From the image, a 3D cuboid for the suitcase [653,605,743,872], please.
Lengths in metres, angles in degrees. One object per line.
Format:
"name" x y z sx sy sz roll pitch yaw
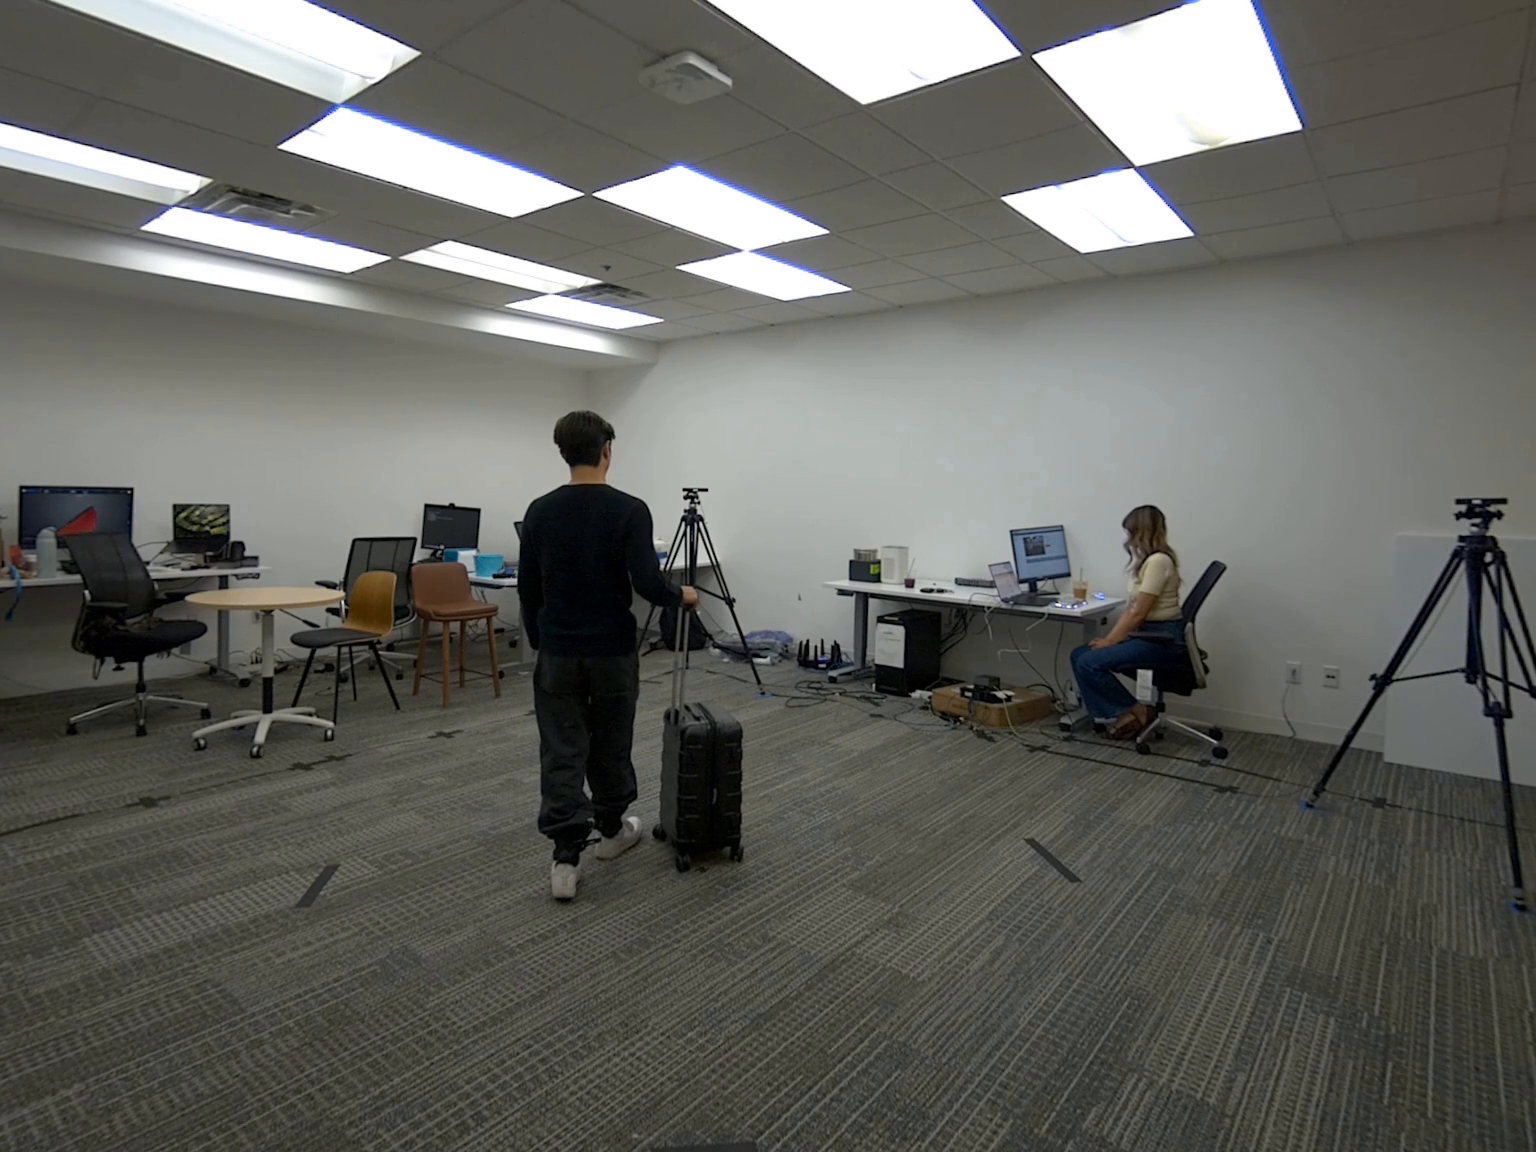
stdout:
"suitcase" -0.256 0.576 3.271 0.252 0.977 0.392 4 2 -18
